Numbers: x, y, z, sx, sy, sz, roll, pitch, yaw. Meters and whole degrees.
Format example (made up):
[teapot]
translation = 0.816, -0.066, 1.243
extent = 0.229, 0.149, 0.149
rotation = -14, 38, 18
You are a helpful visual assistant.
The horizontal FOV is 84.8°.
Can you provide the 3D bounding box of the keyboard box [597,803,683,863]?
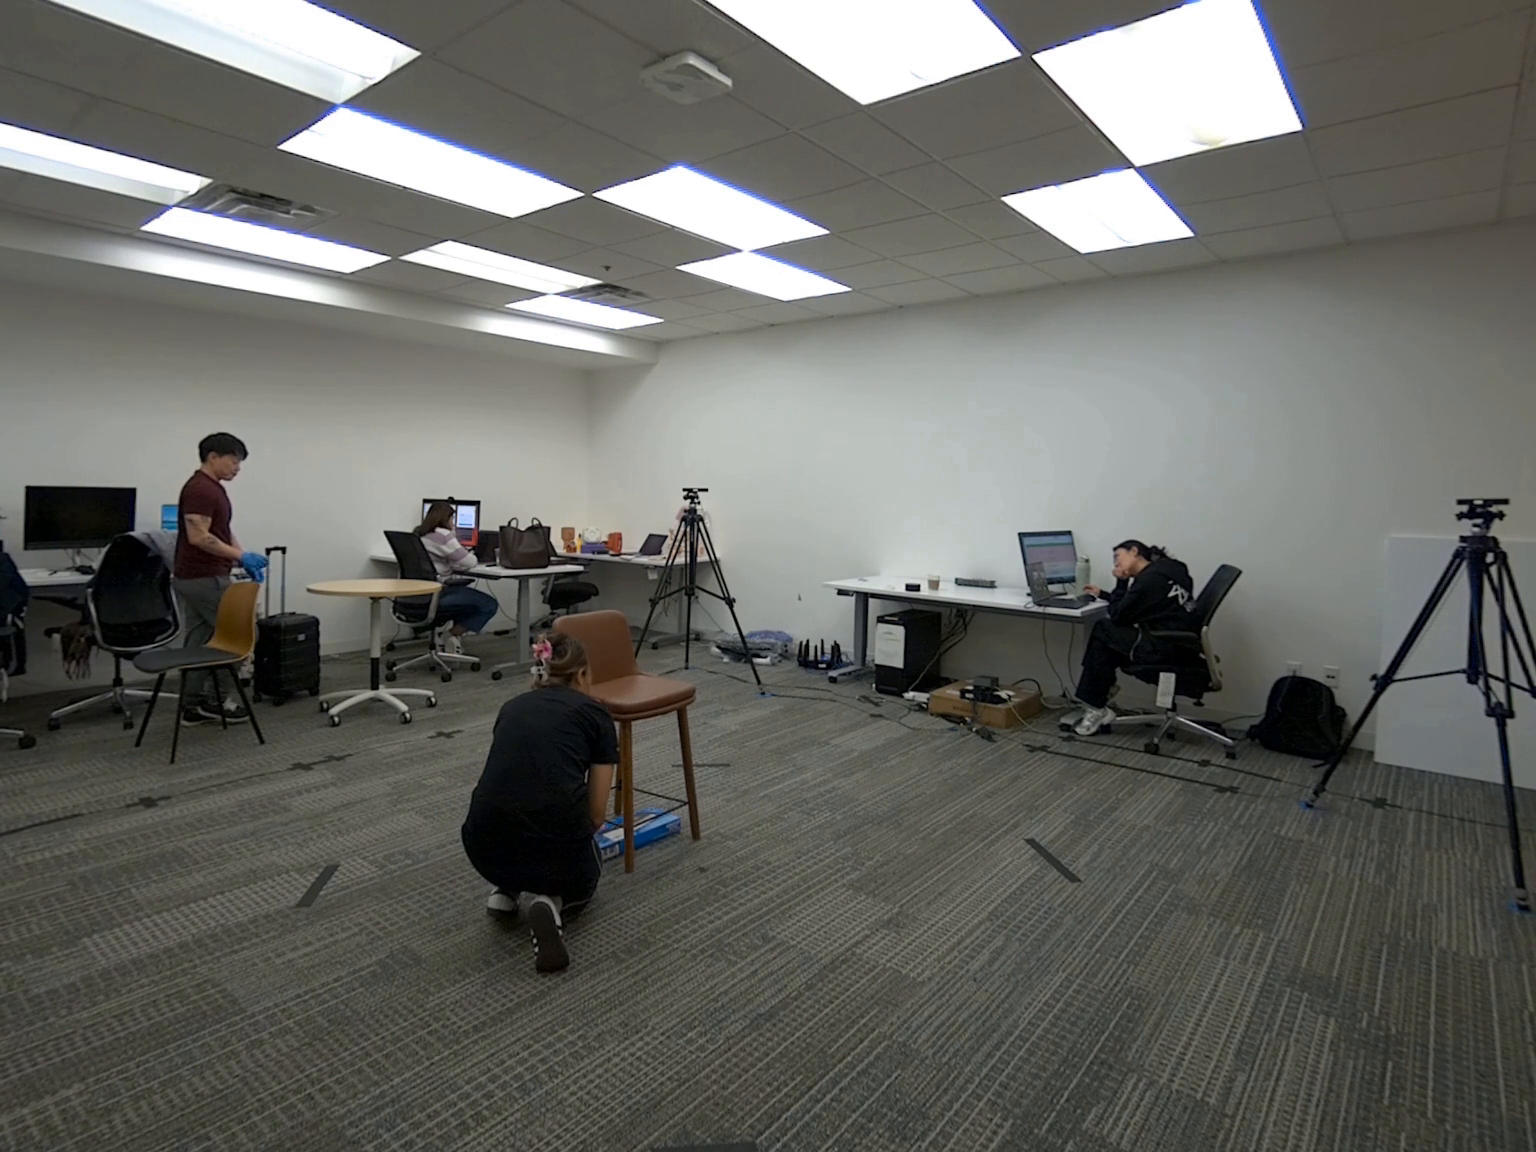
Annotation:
[keyboard box]
translation = -0.557, 1.010, 3.339
extent = 0.182, 0.059, 0.424
rotation = 6, 7, 40
